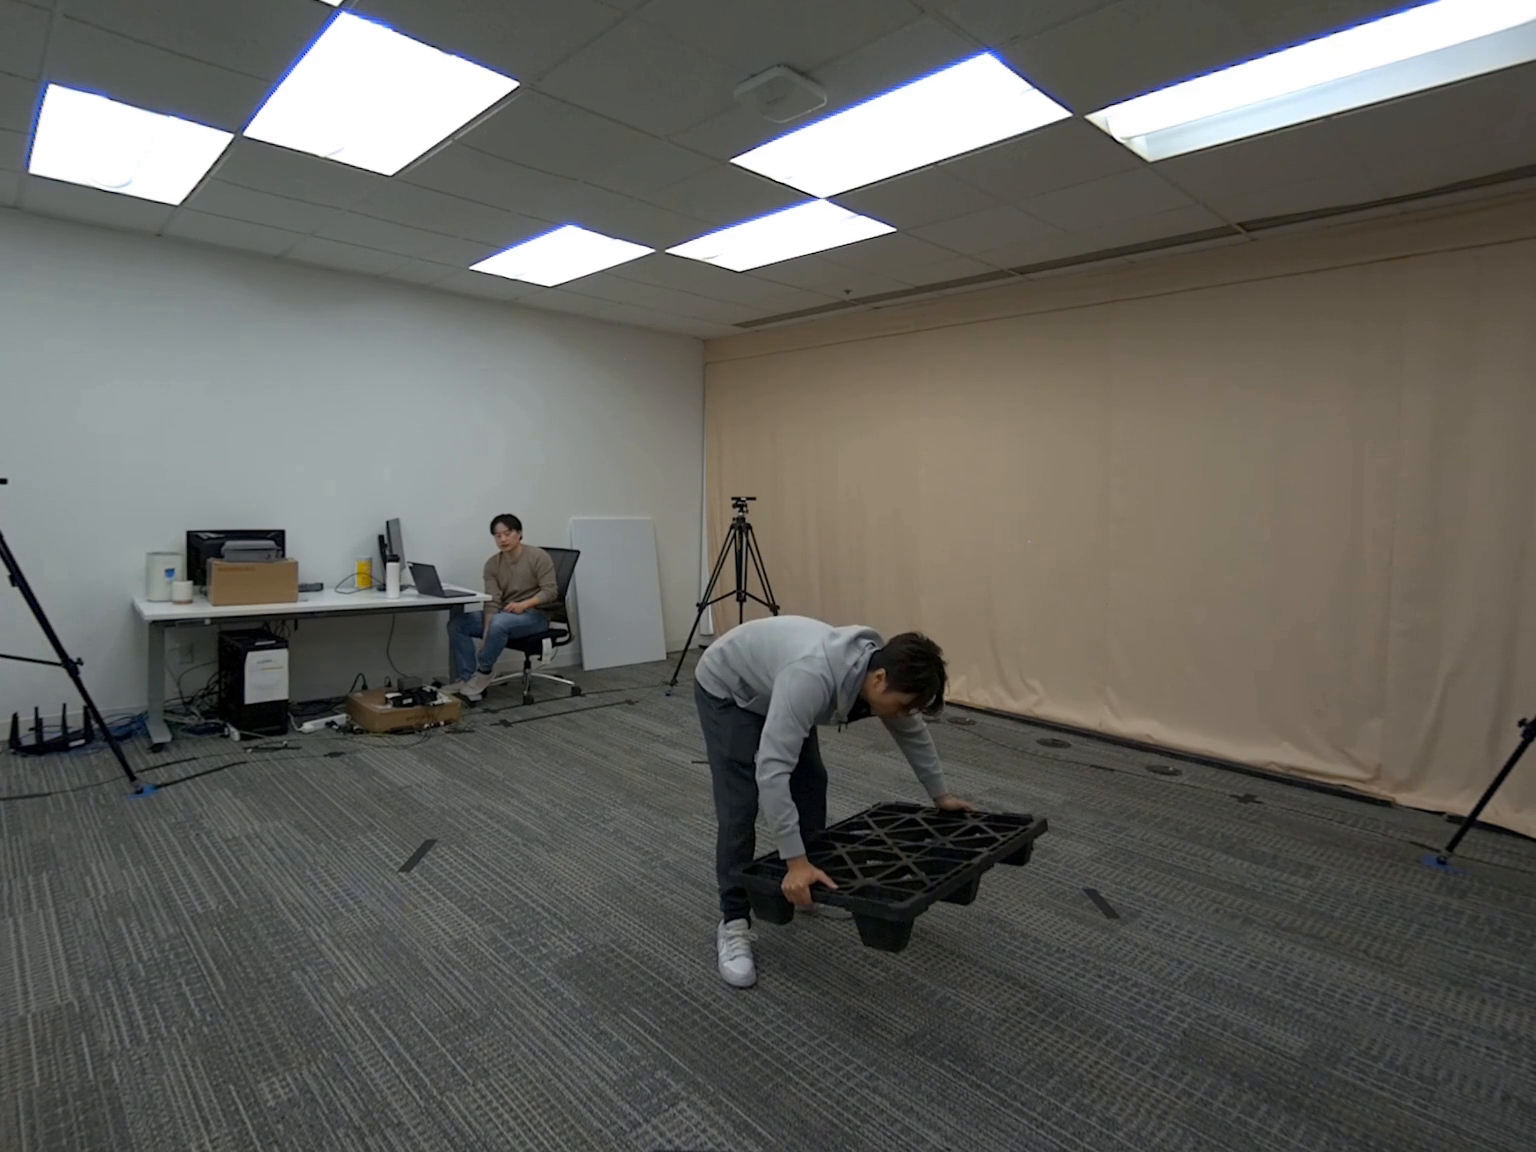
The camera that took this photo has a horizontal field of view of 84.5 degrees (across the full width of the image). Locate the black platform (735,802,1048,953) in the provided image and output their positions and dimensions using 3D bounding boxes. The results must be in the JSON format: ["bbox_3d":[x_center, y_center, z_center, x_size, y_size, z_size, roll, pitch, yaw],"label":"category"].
[{"bbox_3d":[0.364,0.855,2.458,0.617,0.144,0.788,-8,-2,43],"label":"black platform"}]
